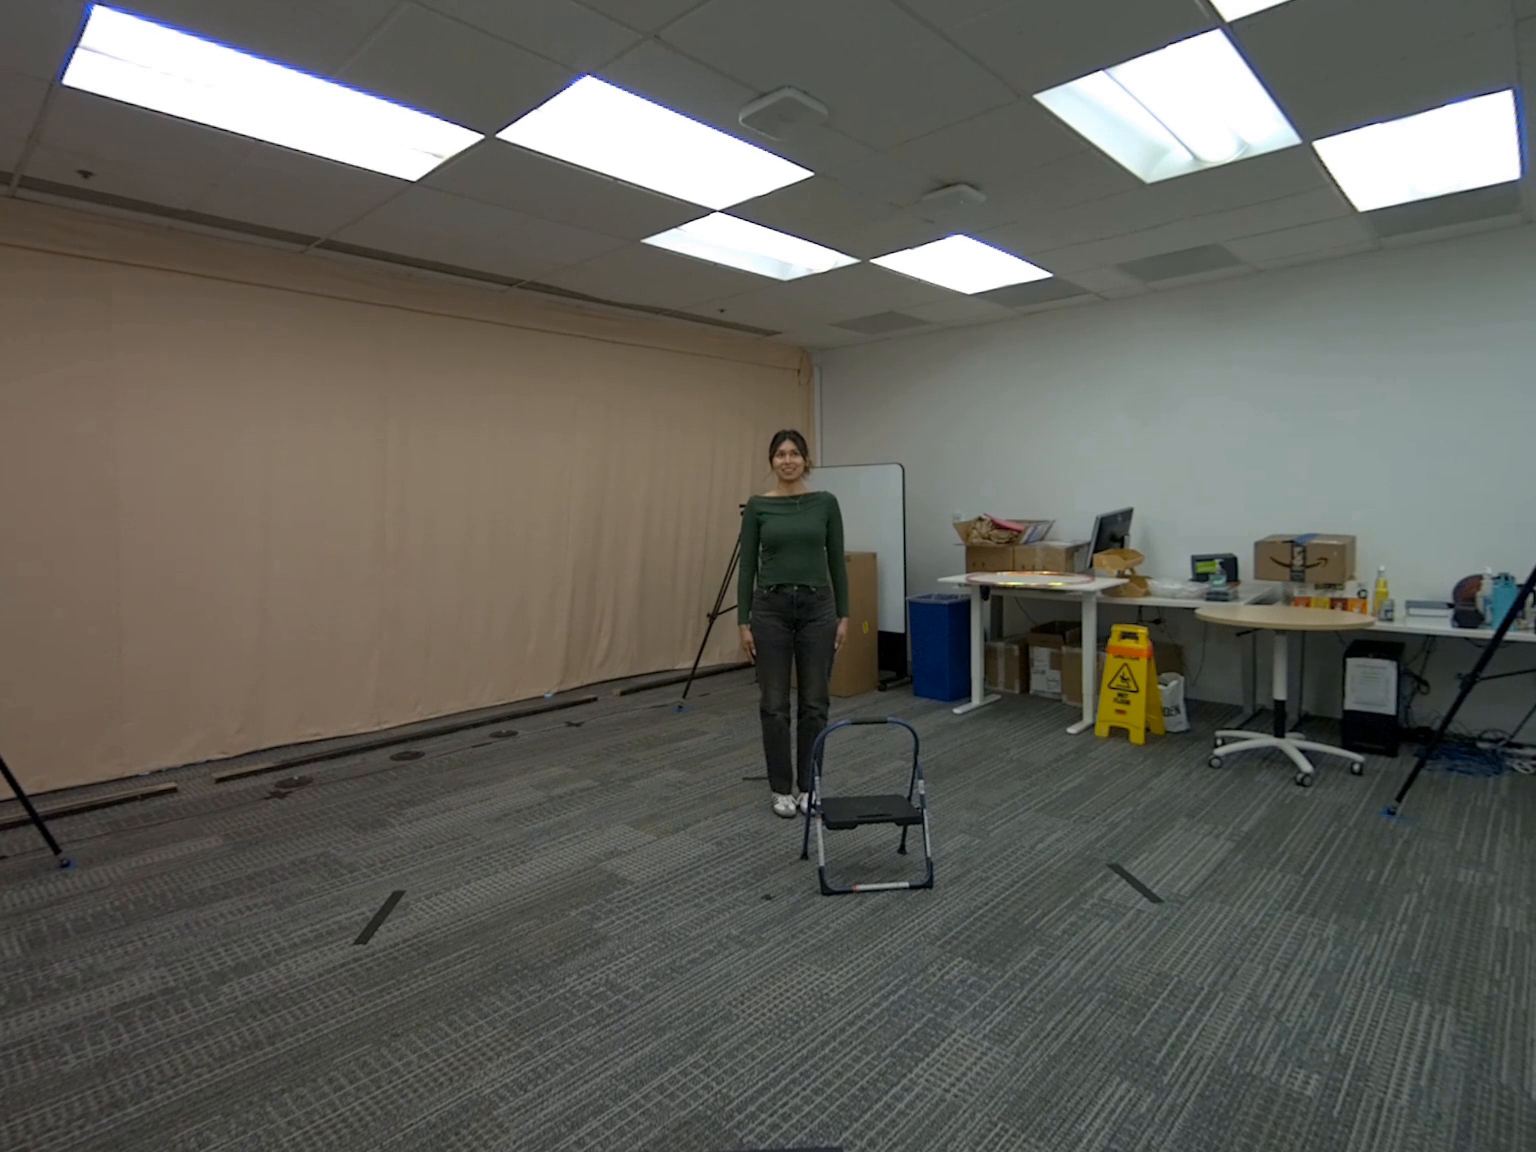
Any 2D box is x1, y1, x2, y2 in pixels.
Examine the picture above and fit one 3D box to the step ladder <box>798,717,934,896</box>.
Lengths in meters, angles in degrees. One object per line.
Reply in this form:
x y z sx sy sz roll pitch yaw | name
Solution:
0.366 0.820 3.153 0.426 0.605 0.353 -2 4 -9 | step ladder
